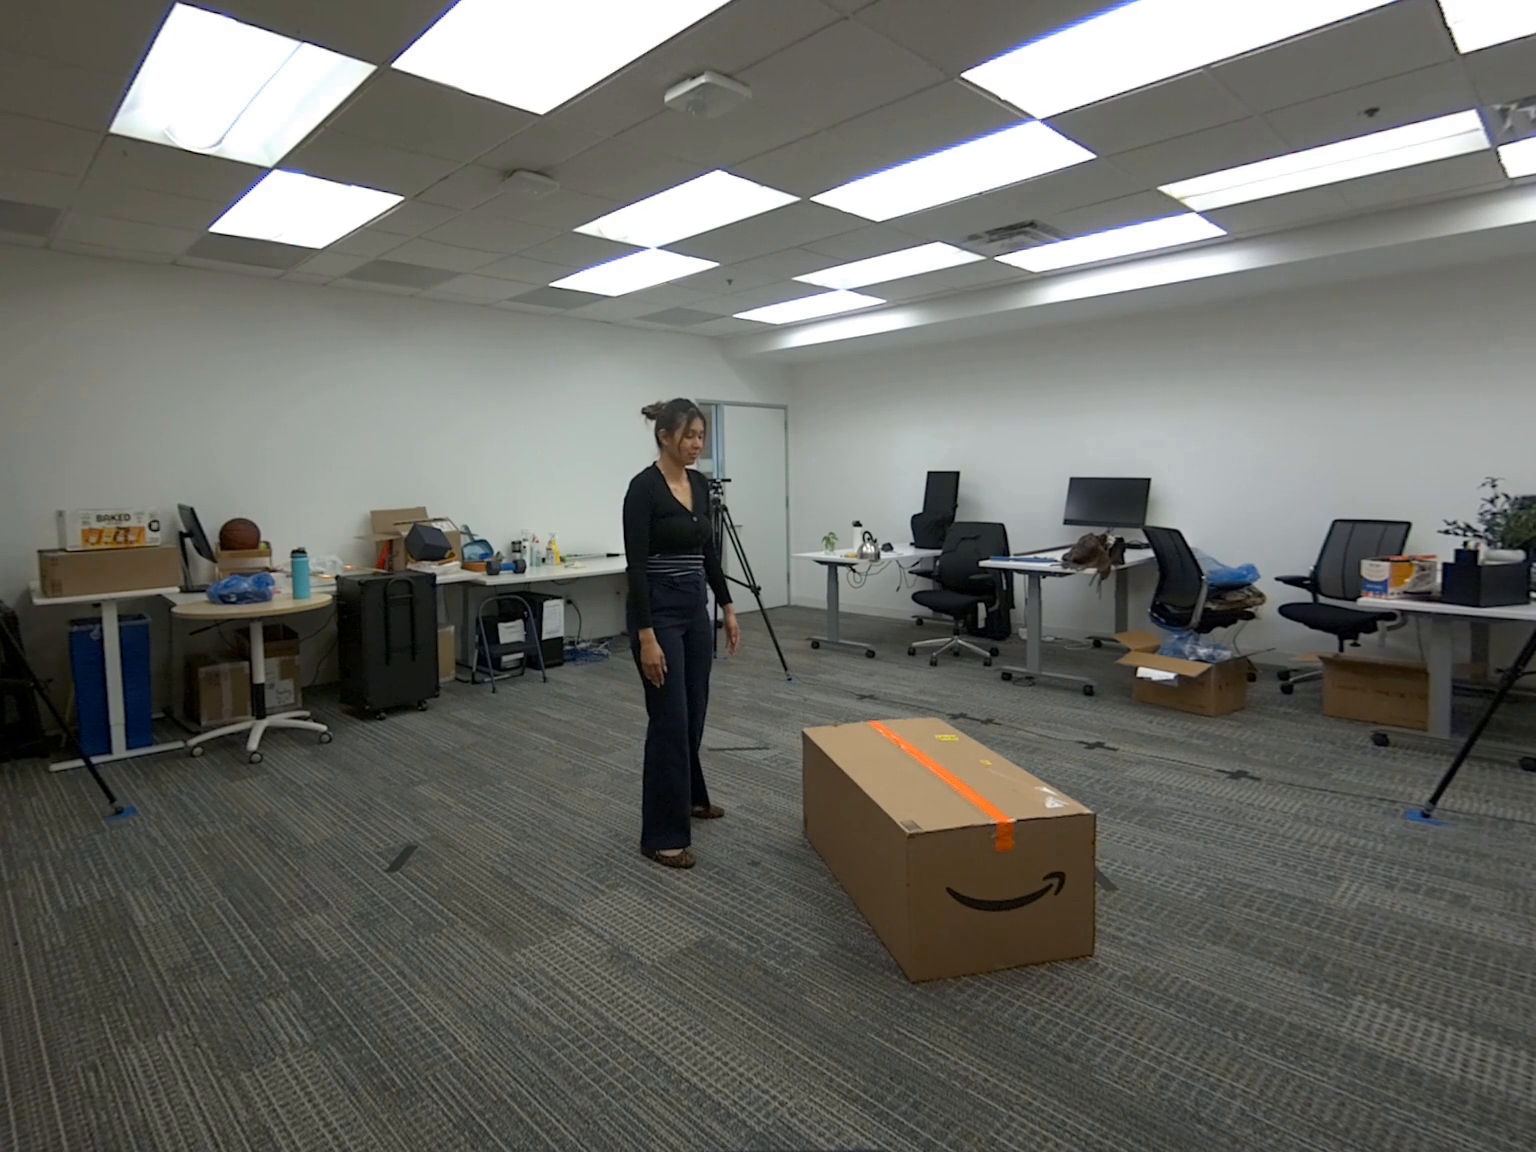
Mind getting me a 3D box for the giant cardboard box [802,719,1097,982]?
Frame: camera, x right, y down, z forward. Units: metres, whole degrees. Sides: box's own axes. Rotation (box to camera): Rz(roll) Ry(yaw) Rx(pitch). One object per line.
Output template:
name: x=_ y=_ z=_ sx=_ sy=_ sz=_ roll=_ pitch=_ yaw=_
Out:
giant cardboard box: x=0.541 y=0.844 z=2.889 sx=0.571 sy=0.424 sz=1.042 roll=-2 pitch=6 yaw=-14
